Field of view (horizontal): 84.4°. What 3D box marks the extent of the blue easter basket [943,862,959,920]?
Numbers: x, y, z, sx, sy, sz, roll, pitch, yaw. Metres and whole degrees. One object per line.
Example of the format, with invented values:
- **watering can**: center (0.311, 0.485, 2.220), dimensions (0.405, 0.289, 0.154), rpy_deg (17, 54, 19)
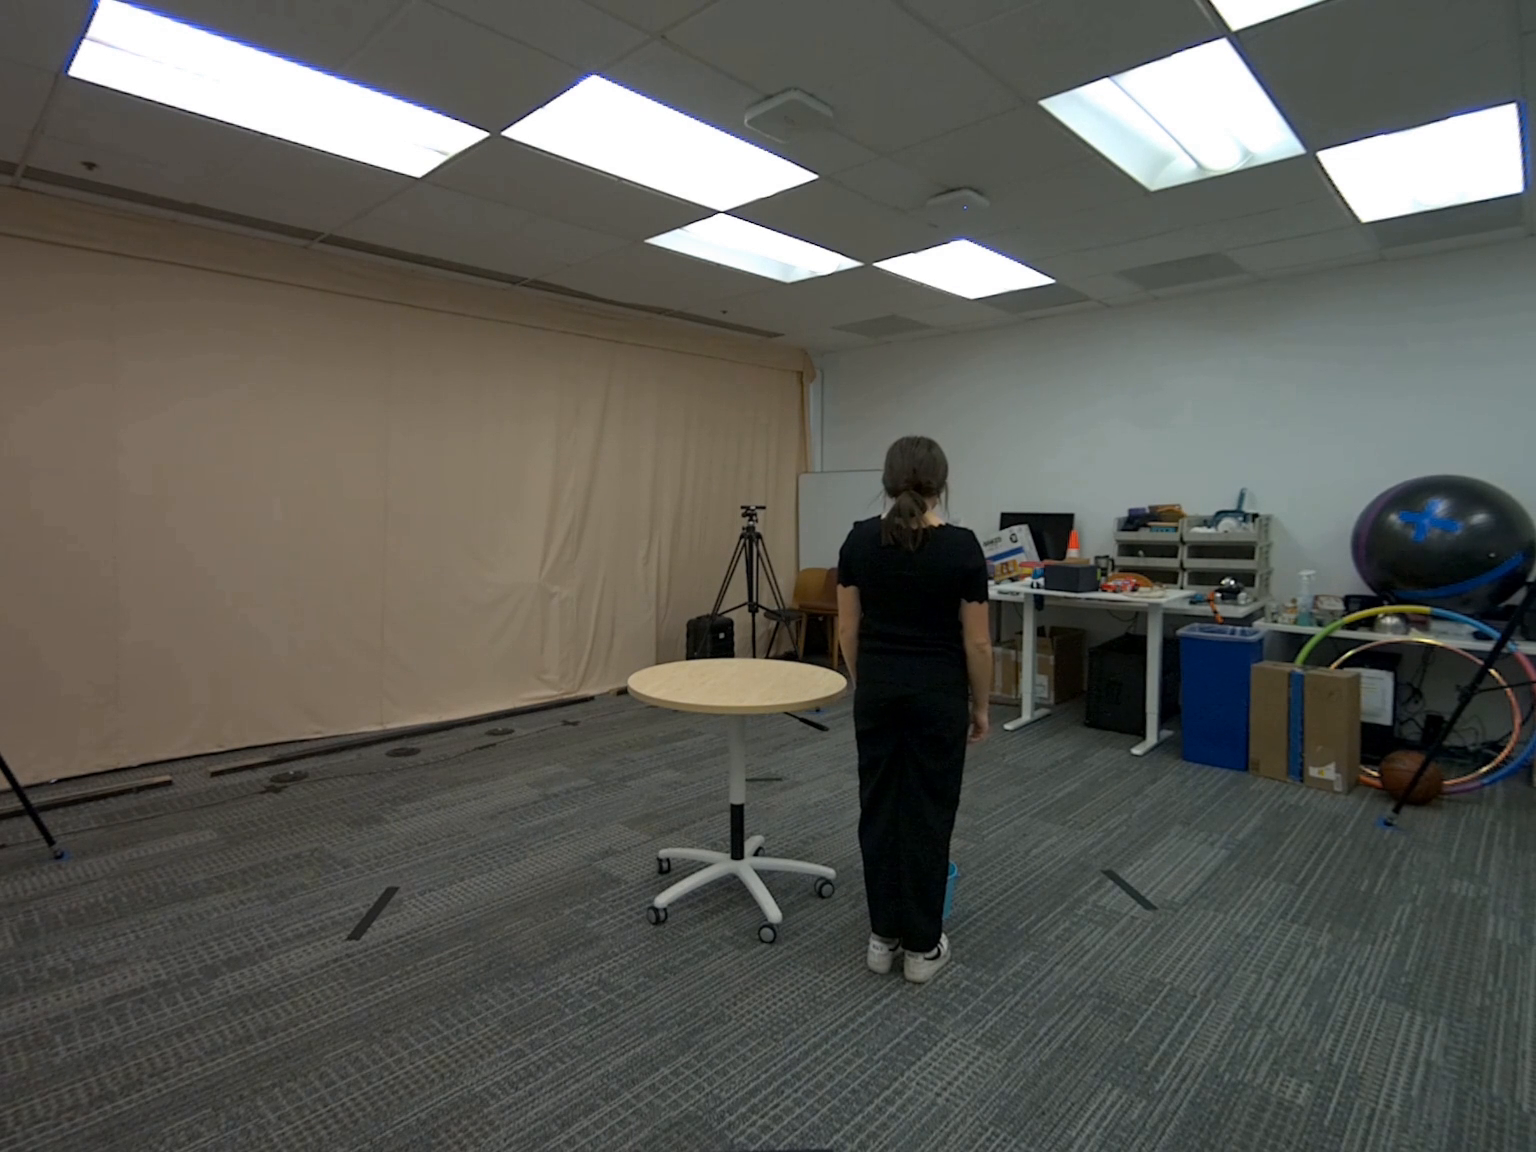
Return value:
- **blue easter basket**: center (0.542, 1.072, 2.886), dimensions (0.243, 0.155, 0.244), rpy_deg (-1, 4, -2)
